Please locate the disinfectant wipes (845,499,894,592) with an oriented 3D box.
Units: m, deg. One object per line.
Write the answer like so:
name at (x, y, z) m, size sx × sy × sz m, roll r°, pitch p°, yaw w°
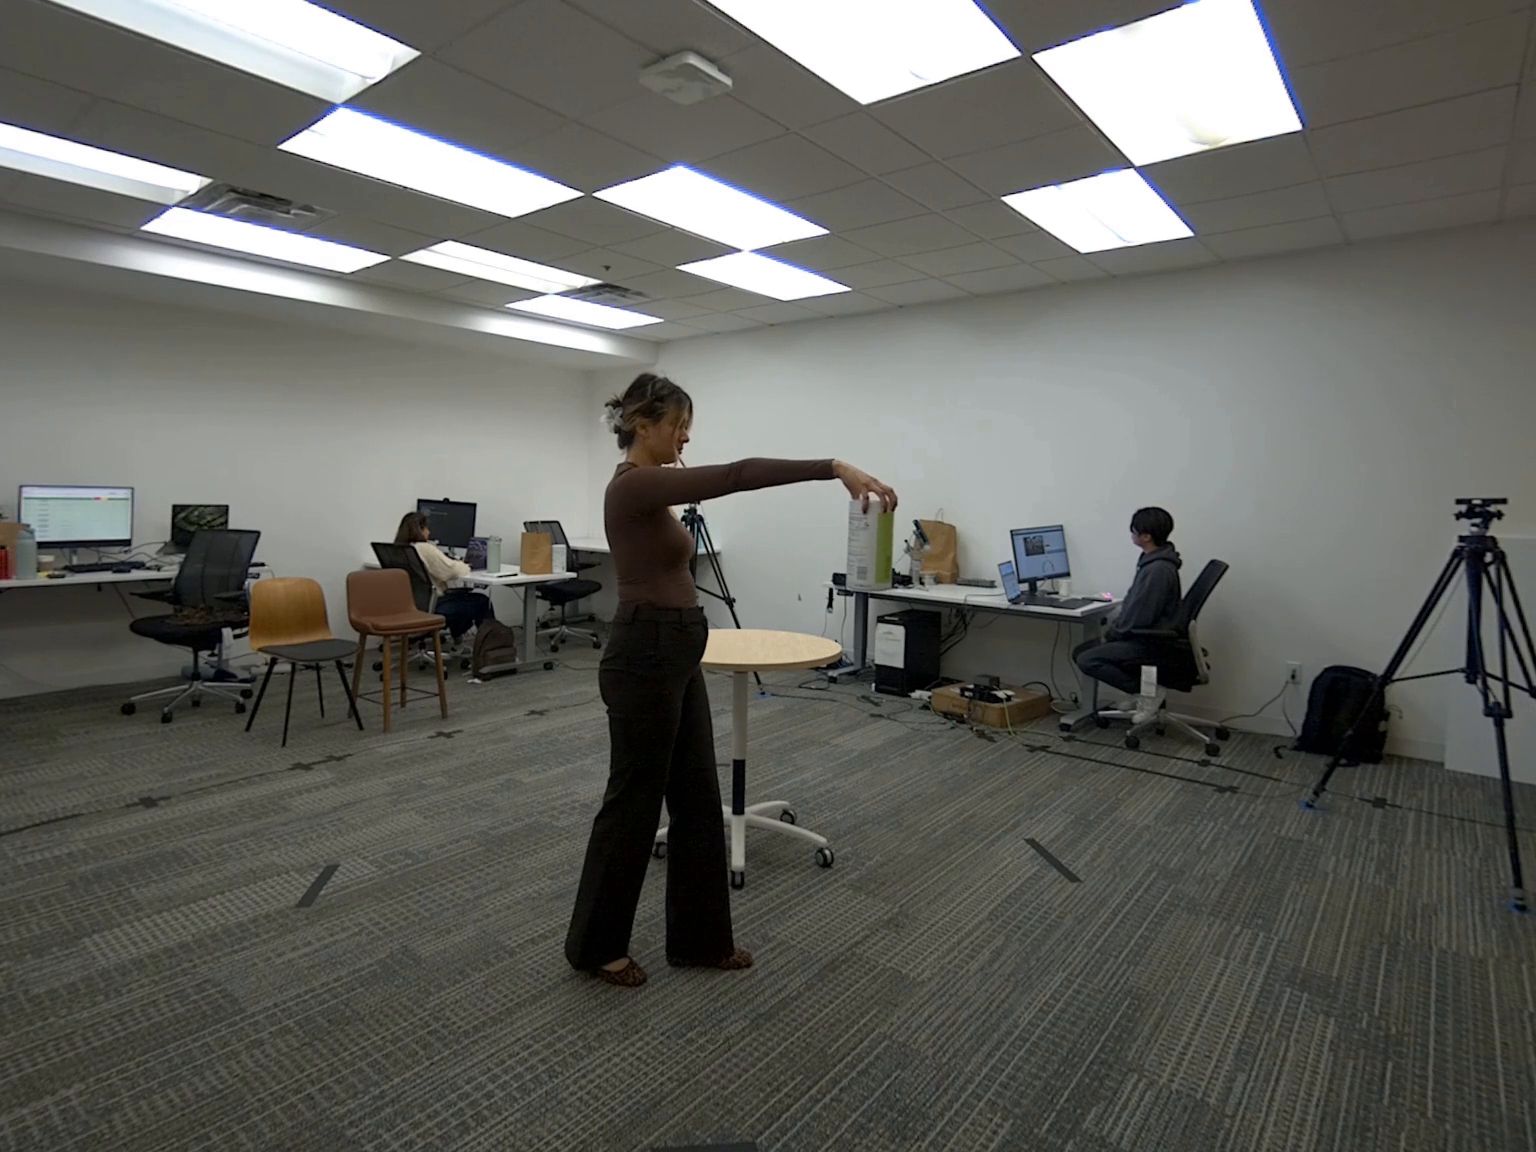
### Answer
disinfectant wipes at (0.239, -0.078, 2.046) m, size 0.118 × 0.216 × 0.118 m, roll 0°, pitch 5°, yaw -2°
